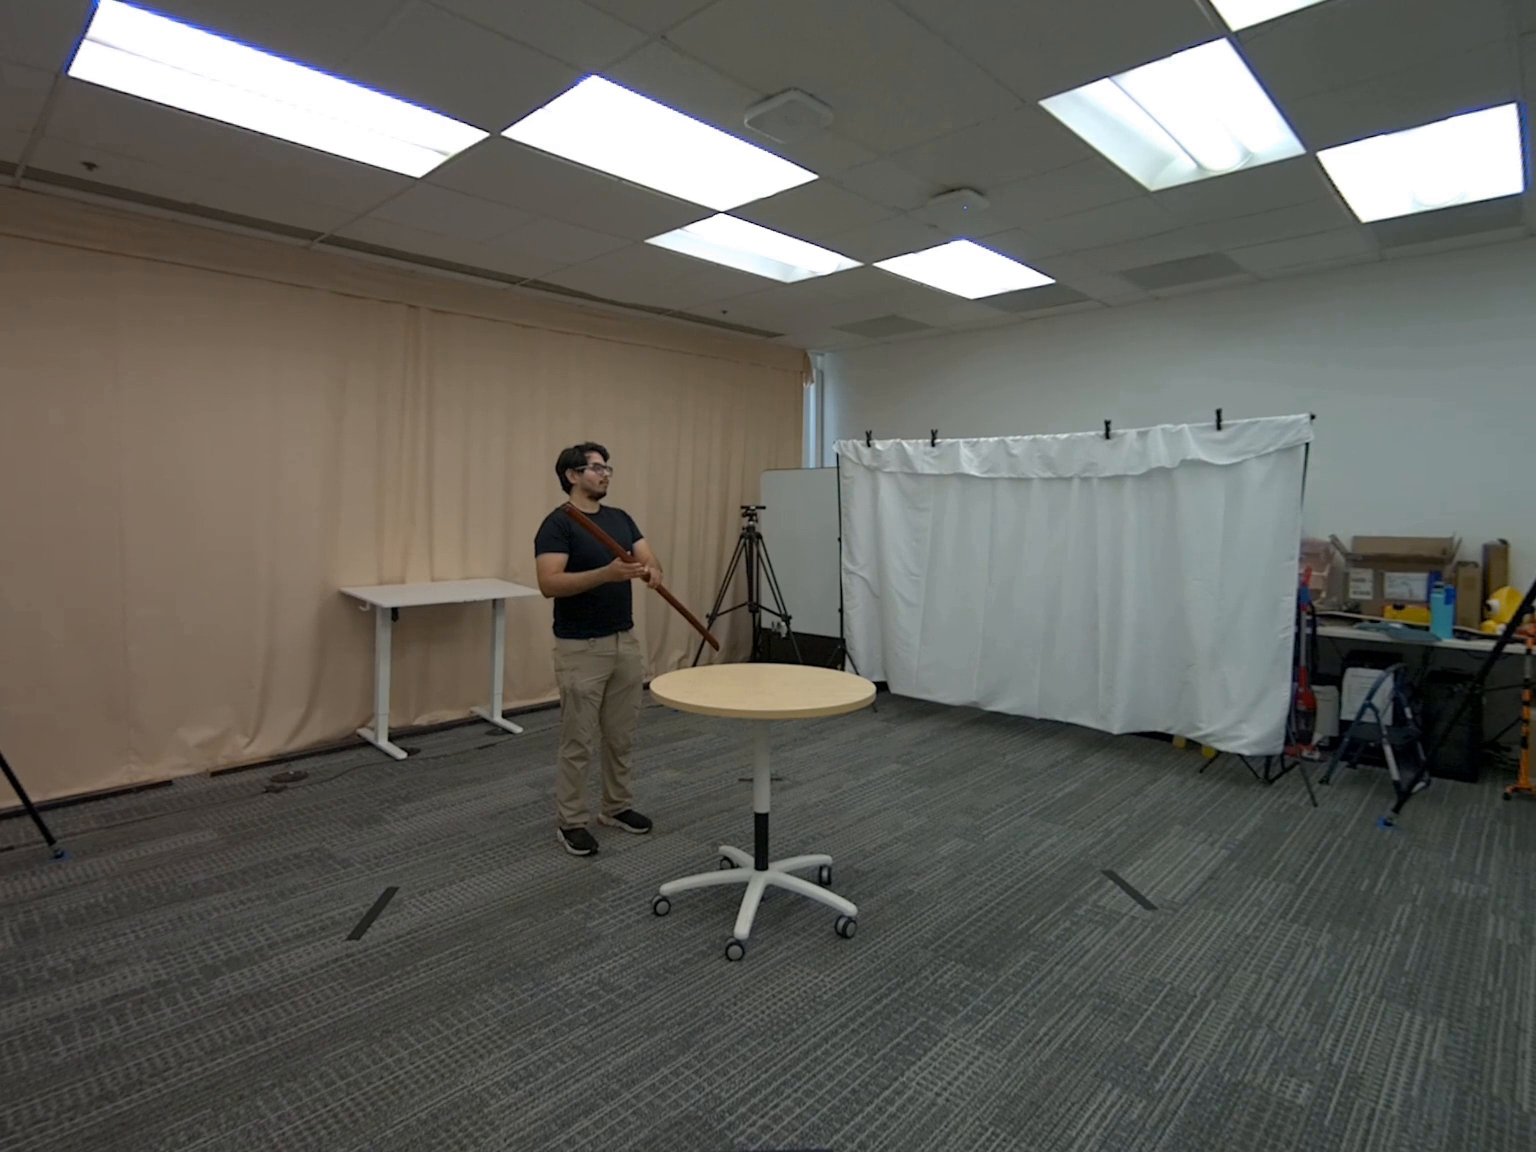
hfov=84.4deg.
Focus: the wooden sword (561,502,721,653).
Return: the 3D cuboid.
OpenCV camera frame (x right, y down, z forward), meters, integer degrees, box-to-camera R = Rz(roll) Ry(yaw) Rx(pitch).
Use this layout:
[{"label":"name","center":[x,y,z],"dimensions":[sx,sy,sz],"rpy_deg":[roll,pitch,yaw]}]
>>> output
[{"label":"wooden sword","center":[-0.453,0.035,3.315],"dimensions":[0.053,0.024,0.990],"rpy_deg":[0,-36,40]}]
